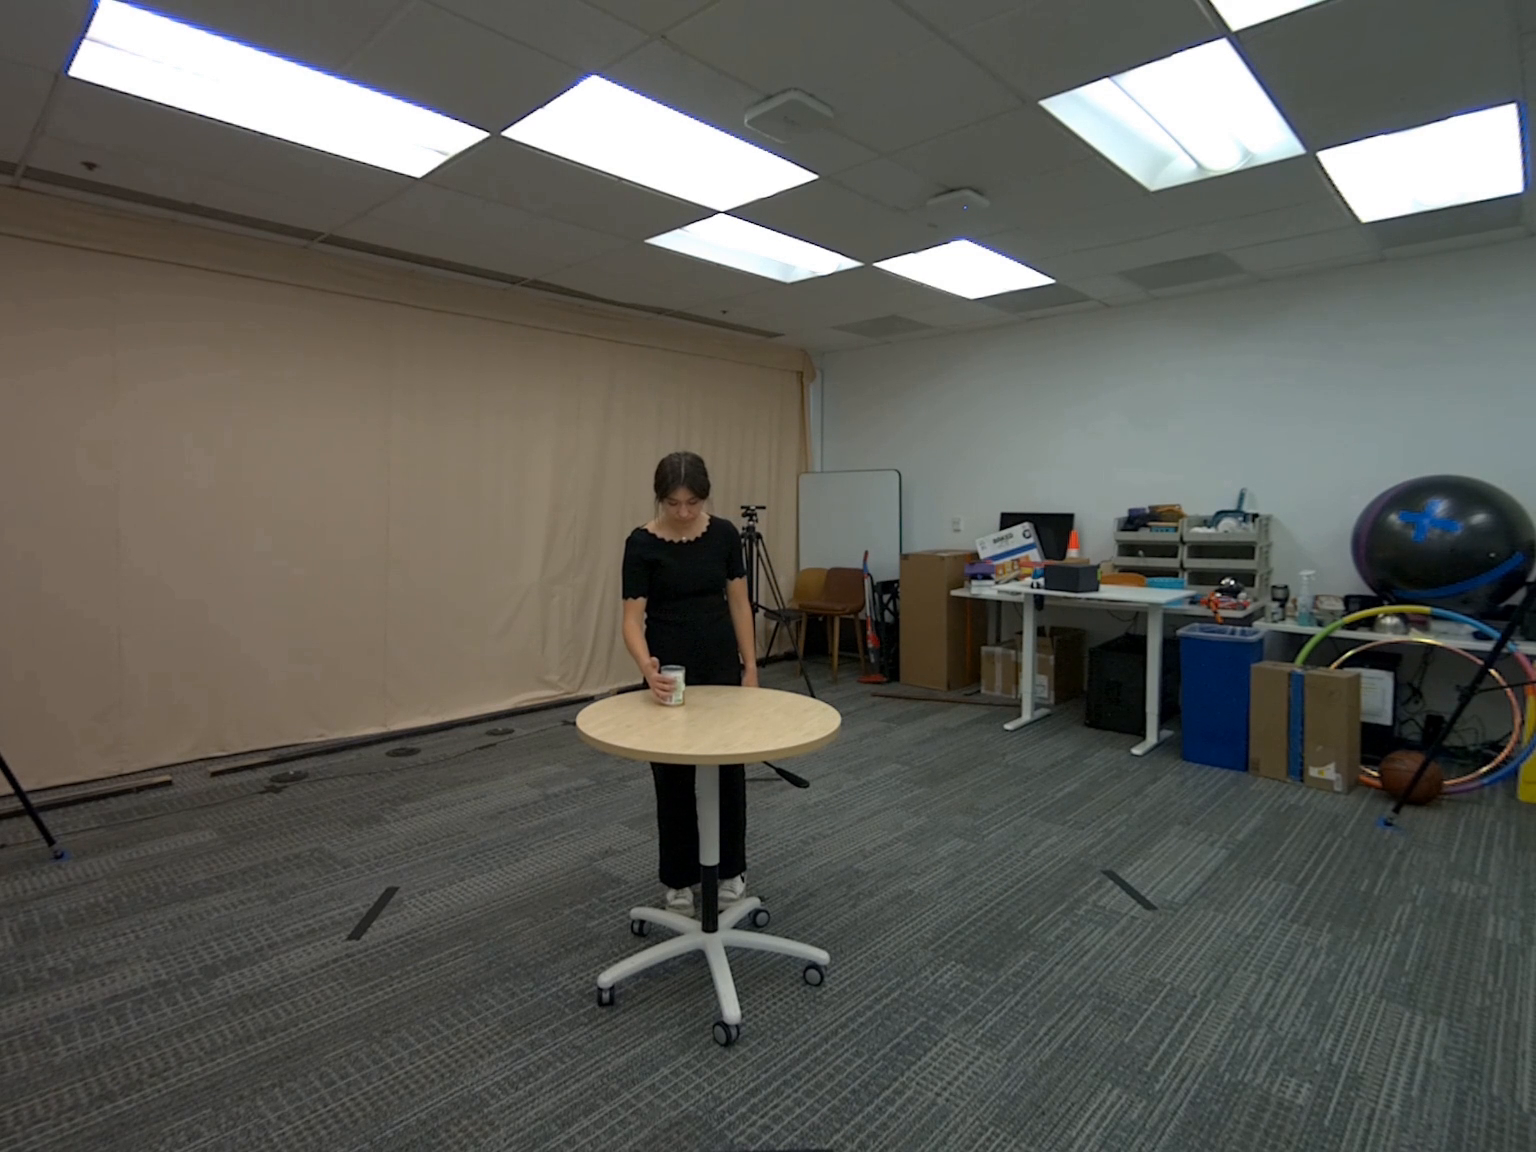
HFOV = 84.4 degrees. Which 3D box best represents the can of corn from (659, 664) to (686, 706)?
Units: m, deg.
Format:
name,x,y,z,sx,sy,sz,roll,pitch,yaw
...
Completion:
name,x,y,z,sx,sy,sz,roll,pitch,yaw
can of corn,-0.289,0.341,2.577,0.074,0.110,0.074,-2,7,-2
